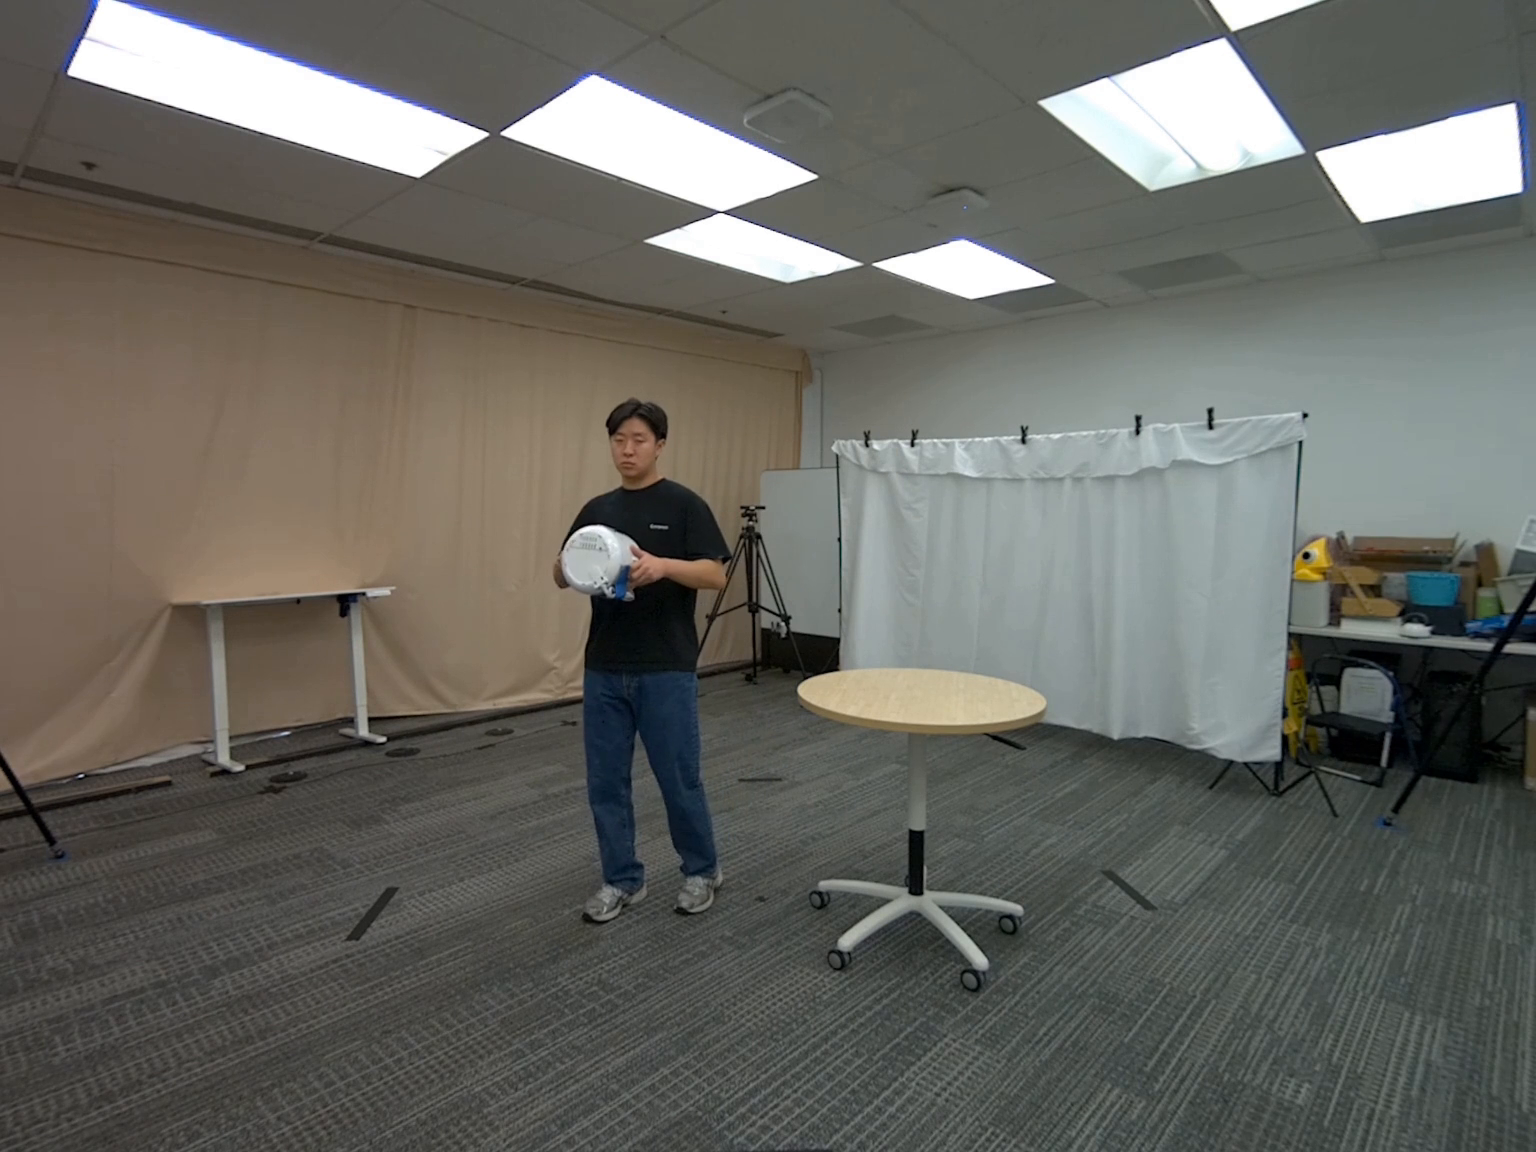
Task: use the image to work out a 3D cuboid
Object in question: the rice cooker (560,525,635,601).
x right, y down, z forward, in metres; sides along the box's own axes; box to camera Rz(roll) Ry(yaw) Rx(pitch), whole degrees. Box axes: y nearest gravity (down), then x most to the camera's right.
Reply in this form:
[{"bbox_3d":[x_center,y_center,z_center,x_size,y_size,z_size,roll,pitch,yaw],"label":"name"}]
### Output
[{"bbox_3d":[-0.513,-0.041,2.653,0.226,0.218,0.227,10,-5,20],"label":"rice cooker"}]
